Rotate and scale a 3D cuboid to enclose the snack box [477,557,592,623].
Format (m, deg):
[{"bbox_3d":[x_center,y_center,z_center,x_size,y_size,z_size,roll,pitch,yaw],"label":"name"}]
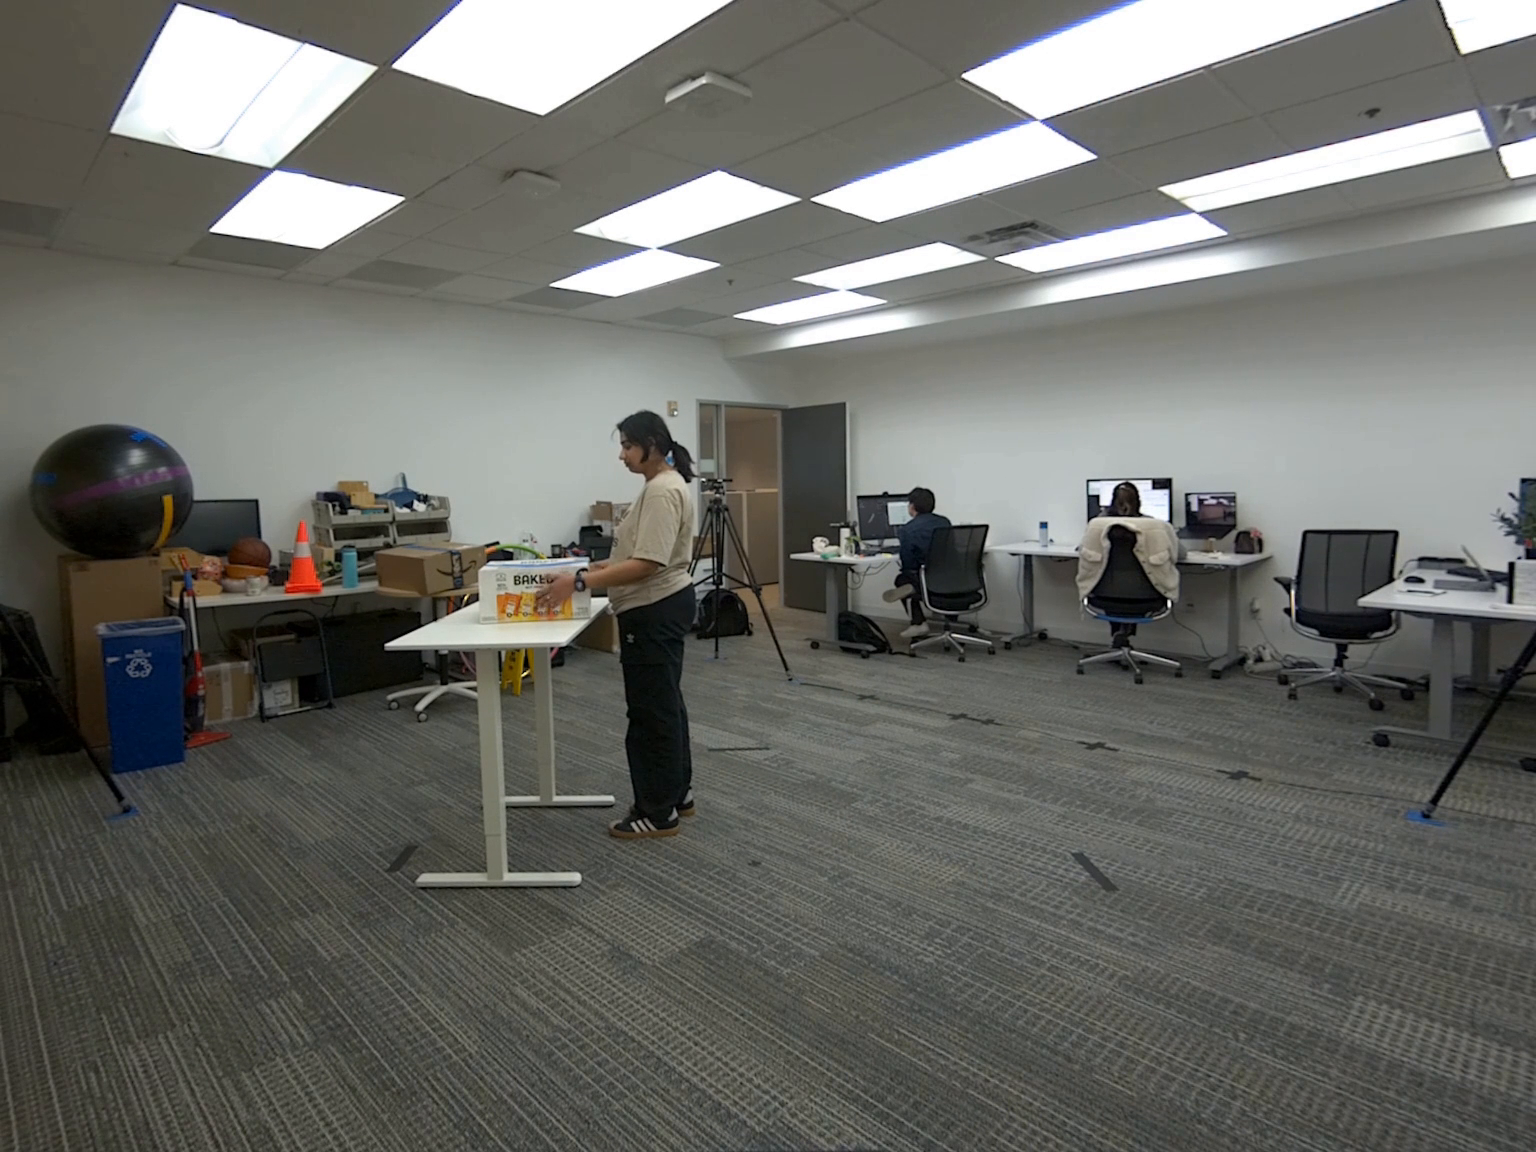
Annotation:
[{"bbox_3d":[-0.897,0.049,3.353,0.401,0.204,0.345,-3,7,-10],"label":"snack box"}]
